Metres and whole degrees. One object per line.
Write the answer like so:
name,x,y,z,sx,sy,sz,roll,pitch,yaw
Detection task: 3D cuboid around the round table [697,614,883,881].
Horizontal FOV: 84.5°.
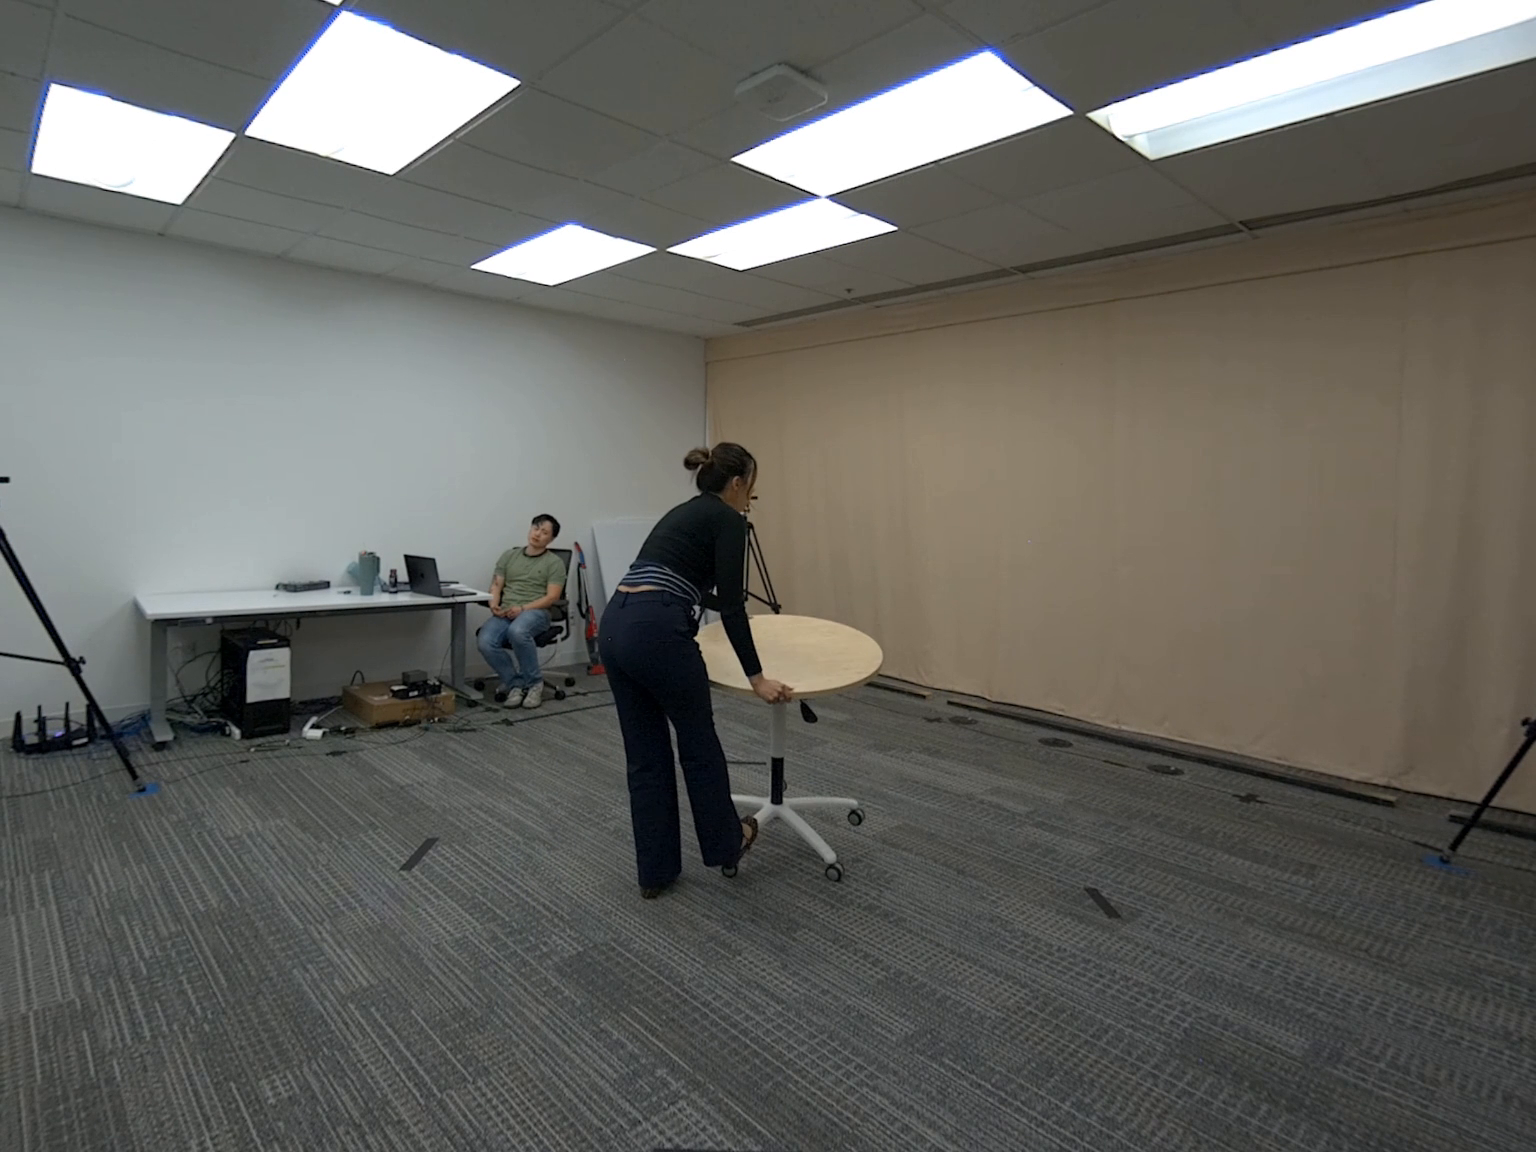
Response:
round table,0.033,0.659,3.268,0.763,0.786,0.772,1,15,-2
